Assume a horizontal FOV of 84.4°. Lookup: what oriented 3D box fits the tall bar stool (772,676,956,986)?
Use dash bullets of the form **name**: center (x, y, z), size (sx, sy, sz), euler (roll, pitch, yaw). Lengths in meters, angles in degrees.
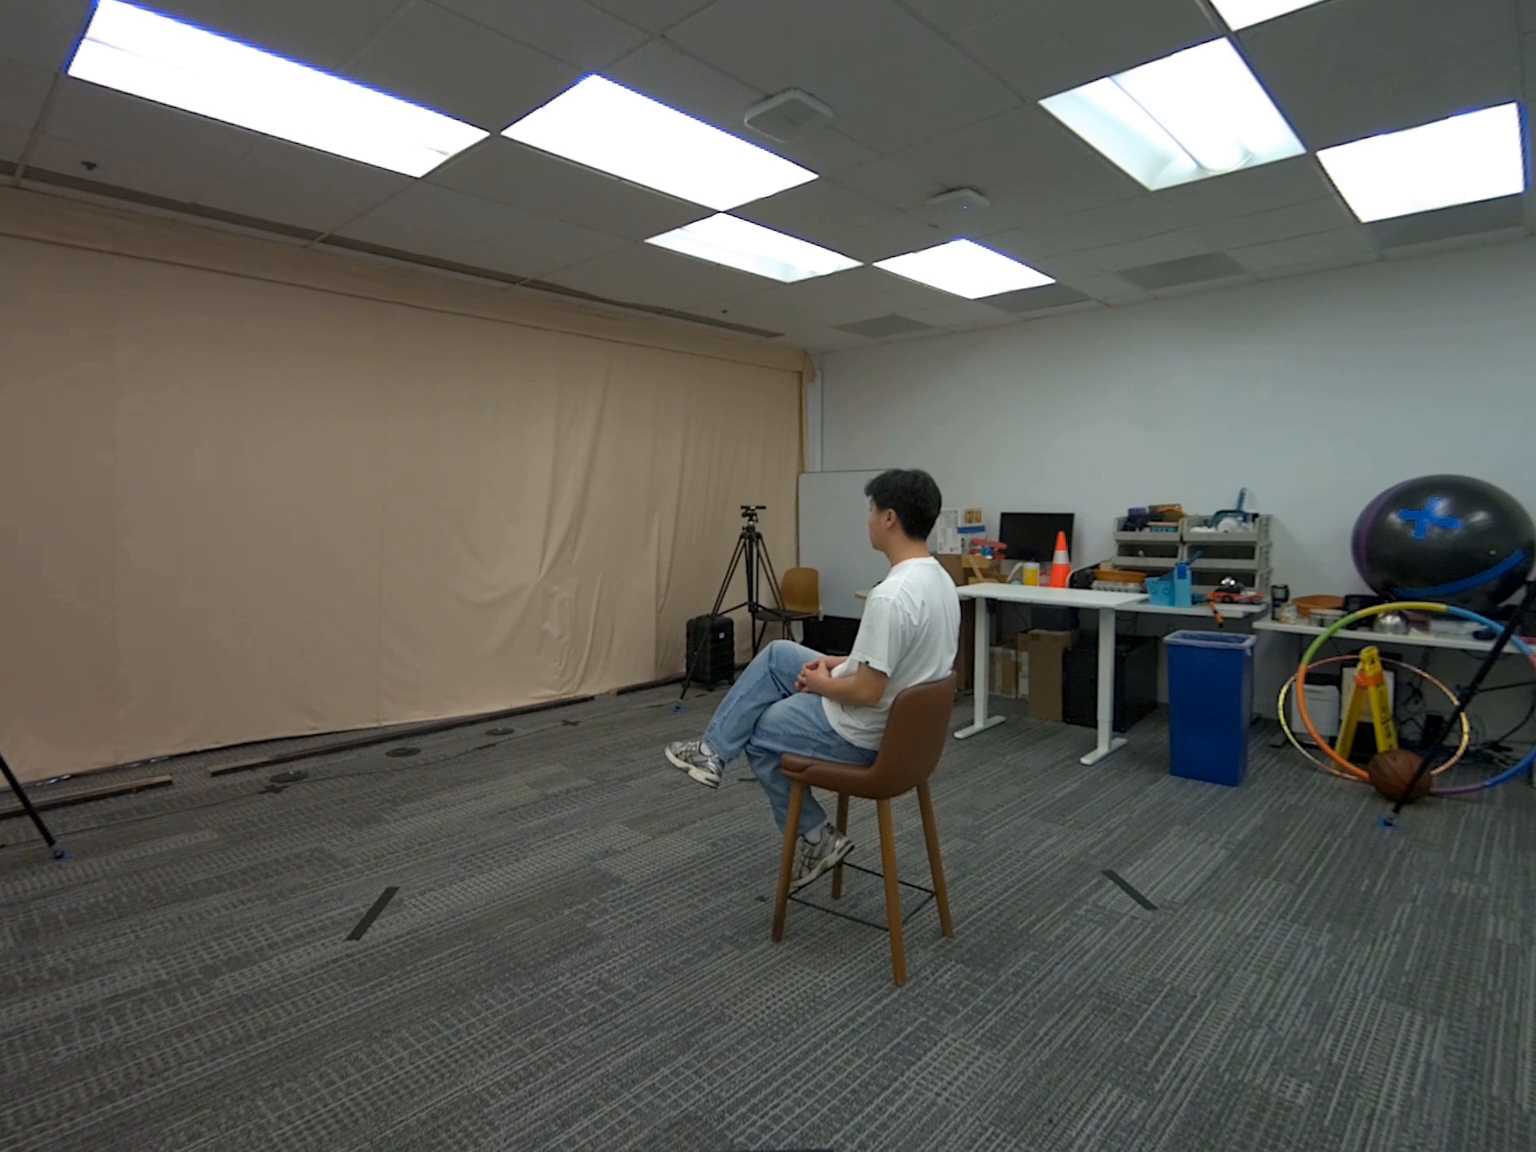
- **tall bar stool**: center (0.323, 0.736, 2.683), size (0.483, 0.887, 0.443), euler (5, 7, 36)
